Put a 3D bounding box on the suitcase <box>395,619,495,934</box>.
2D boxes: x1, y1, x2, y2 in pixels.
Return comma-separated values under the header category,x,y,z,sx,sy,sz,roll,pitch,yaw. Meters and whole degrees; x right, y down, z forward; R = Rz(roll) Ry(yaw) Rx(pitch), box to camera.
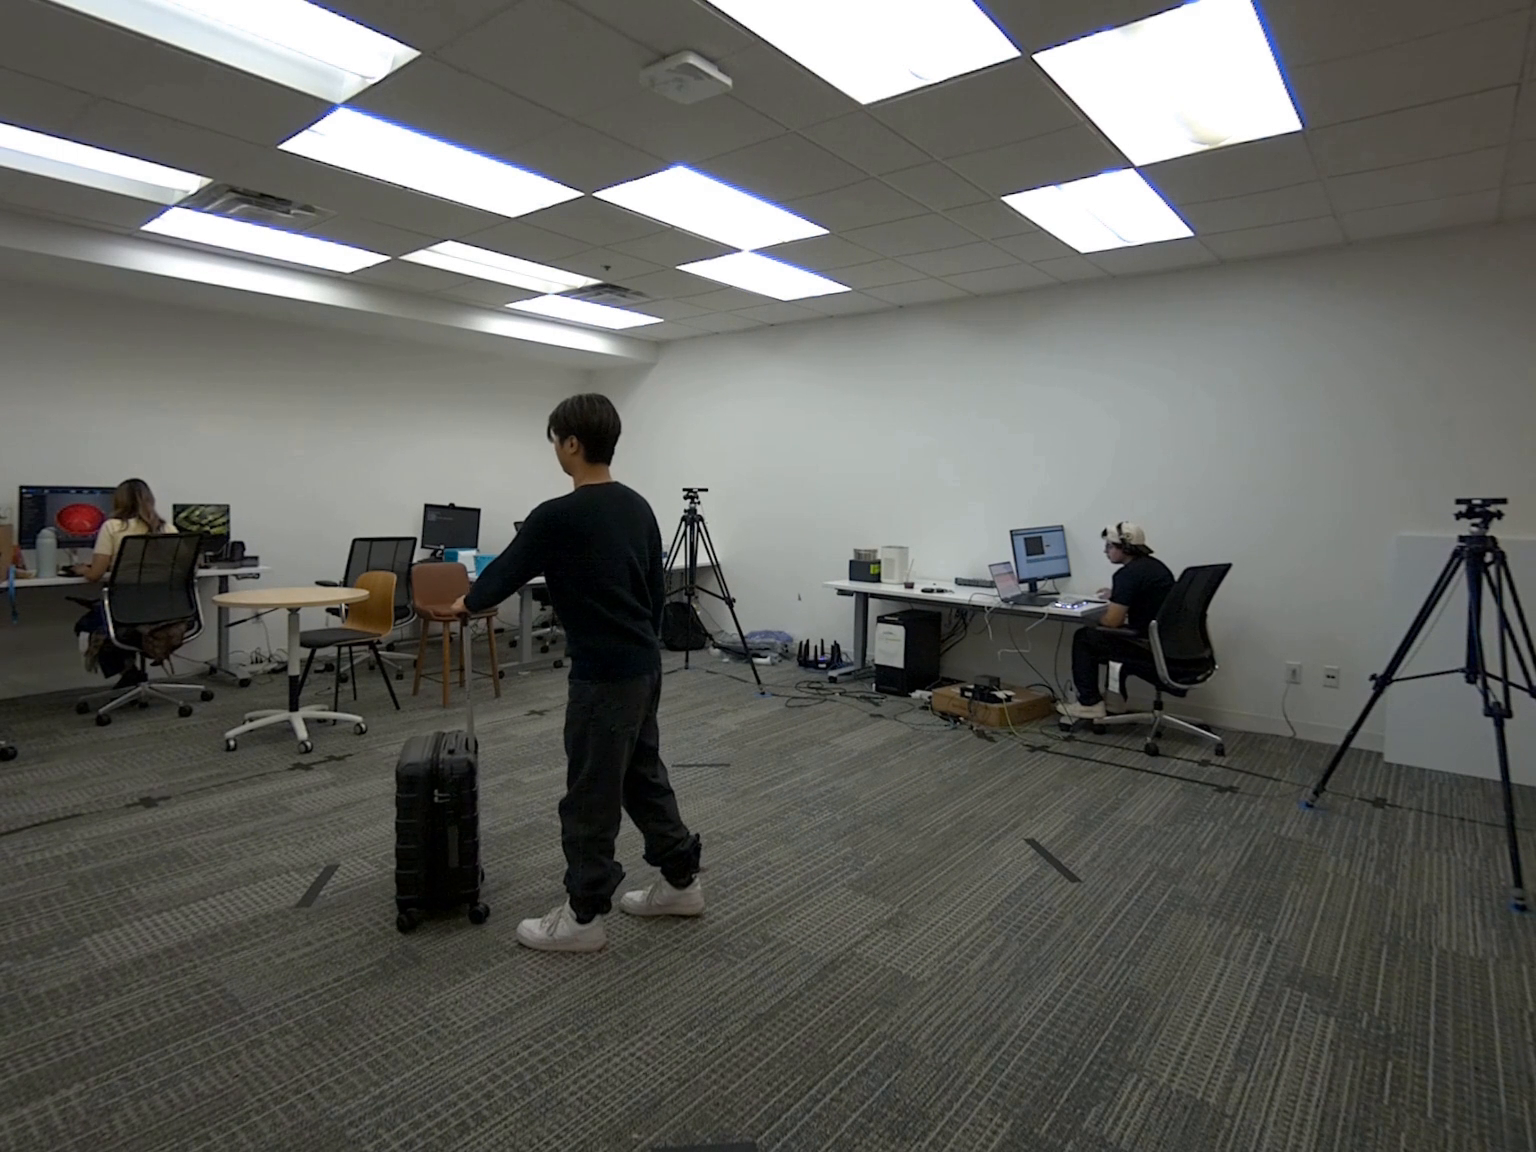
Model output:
category,x,y,z,sx,sy,sz,roll,pitch,yaw
suitcase,-1.106,0.615,2.801,0.253,0.976,0.391,-4,3,-17
